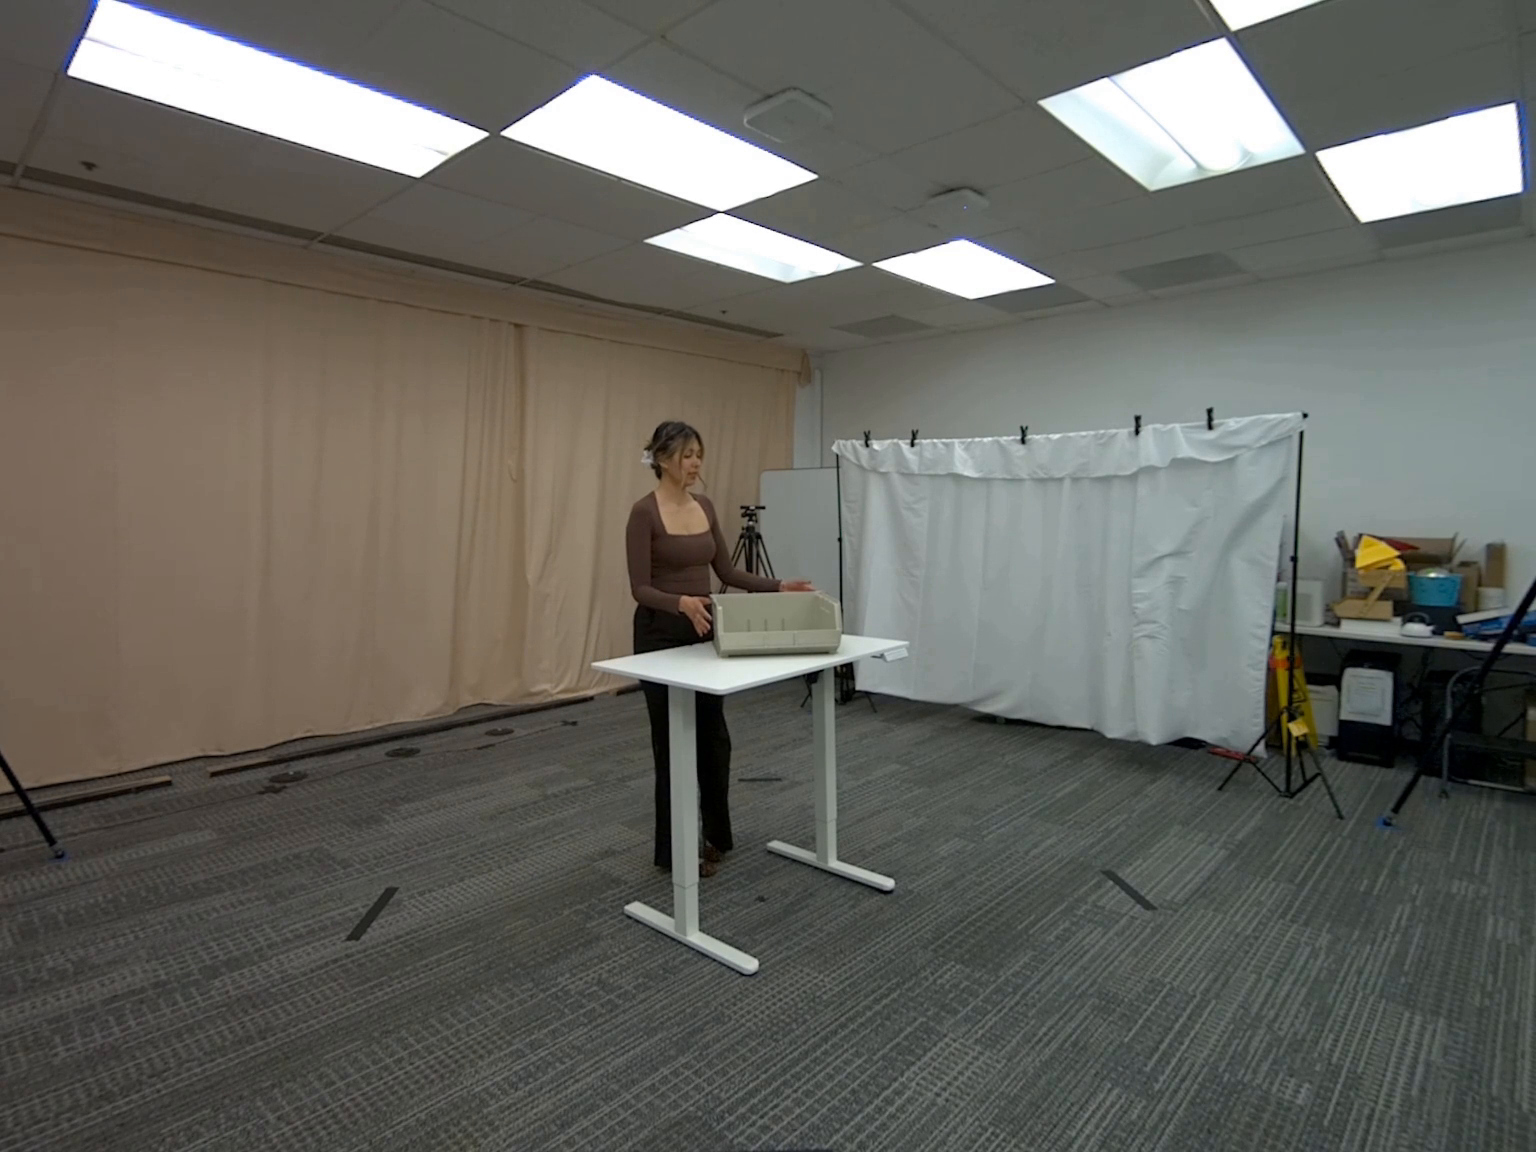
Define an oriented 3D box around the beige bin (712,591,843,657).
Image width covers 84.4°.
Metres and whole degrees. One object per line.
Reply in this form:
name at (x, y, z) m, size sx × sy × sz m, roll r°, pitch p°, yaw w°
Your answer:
beige bin at (0.017, 0.167, 2.980) m, size 0.420 × 0.189 × 0.379 m, roll -1°, pitch 1°, yaw -5°
